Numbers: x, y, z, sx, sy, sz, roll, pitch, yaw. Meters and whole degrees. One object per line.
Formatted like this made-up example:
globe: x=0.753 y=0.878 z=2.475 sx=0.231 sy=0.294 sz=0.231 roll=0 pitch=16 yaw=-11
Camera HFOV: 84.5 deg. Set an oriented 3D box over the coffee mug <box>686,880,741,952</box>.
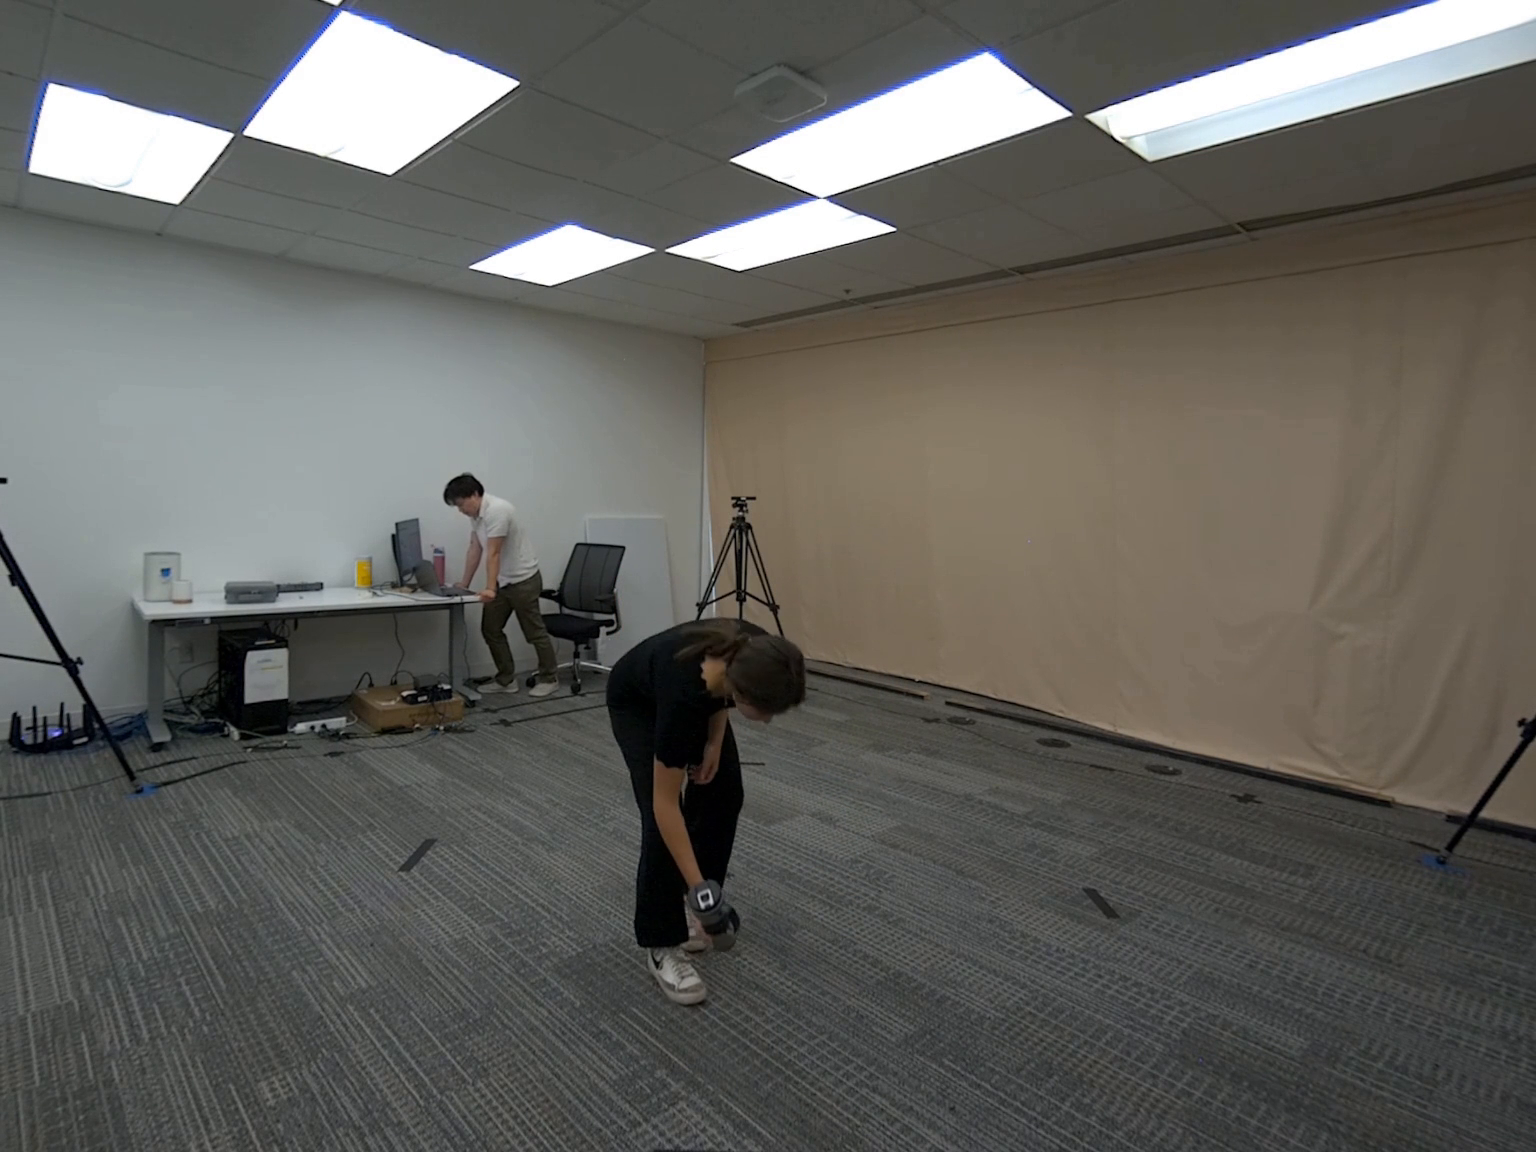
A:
coffee mug: x=-0.130 y=0.874 z=2.107 sx=0.125 sy=0.198 sz=0.087 roll=15 pitch=43 yaw=41
